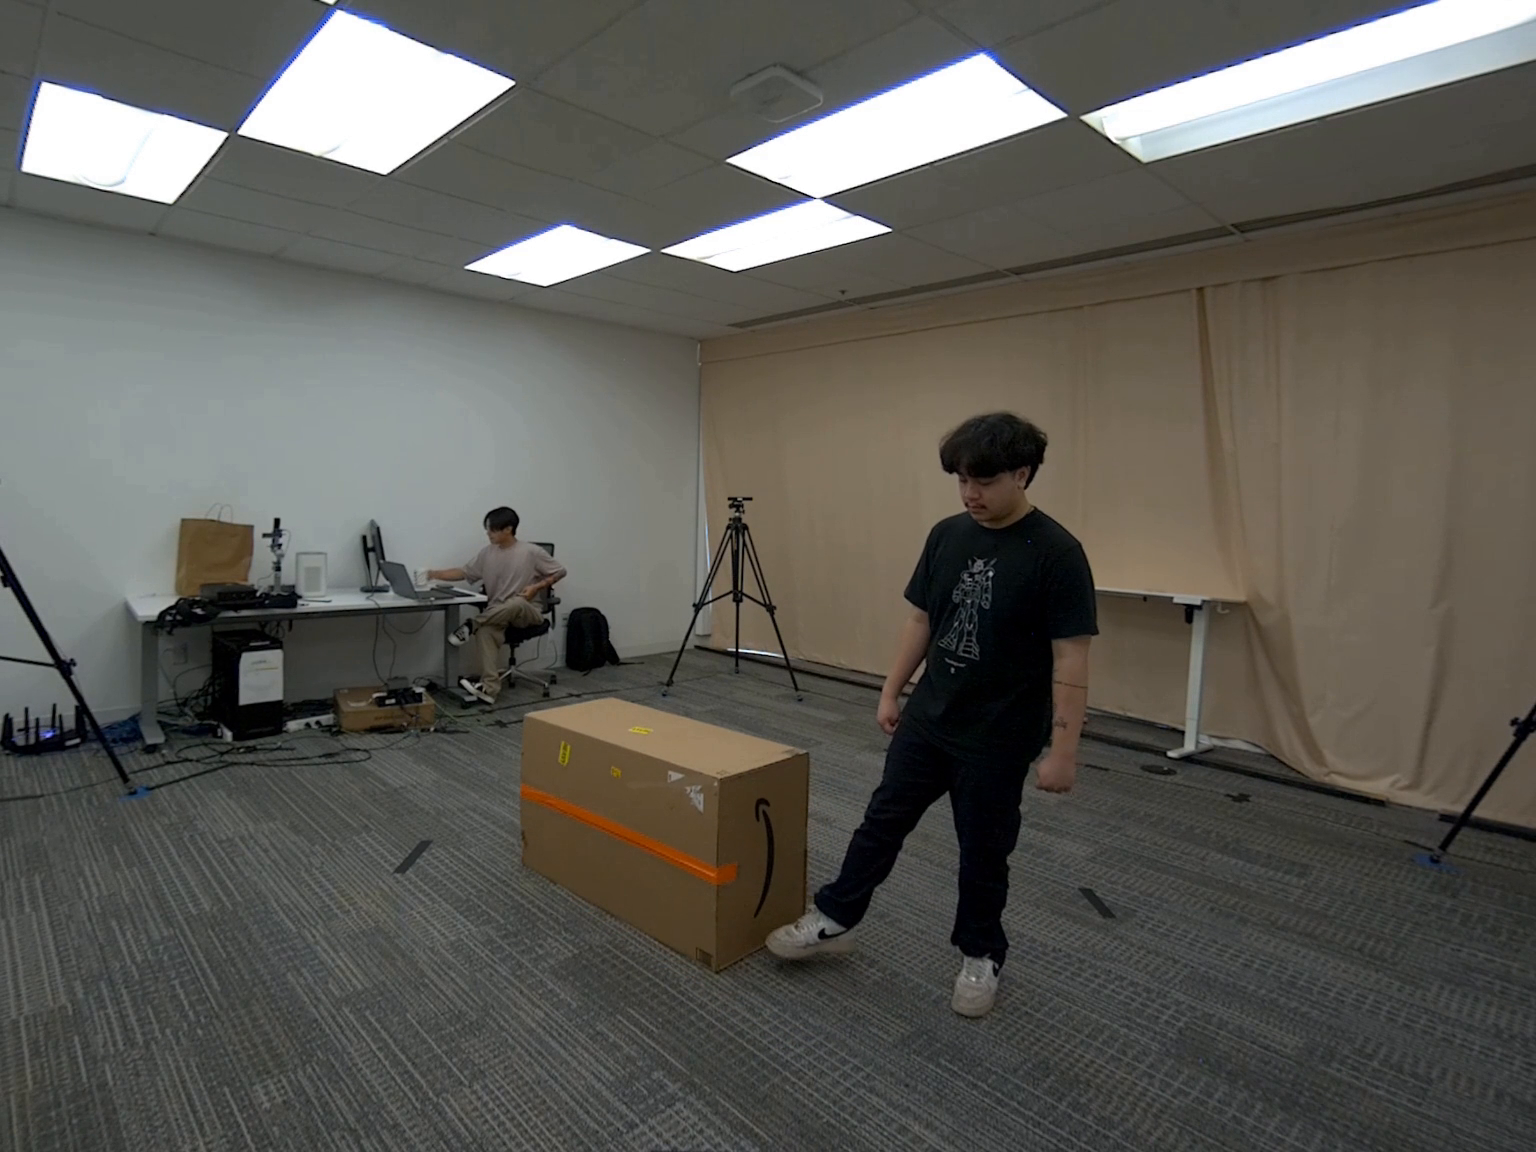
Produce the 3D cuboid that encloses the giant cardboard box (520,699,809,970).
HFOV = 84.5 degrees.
[{"bbox_3d":[-0.403,0.831,2.949,1.053,0.582,0.437,5,5,42],"label":"giant cardboard box"}]
